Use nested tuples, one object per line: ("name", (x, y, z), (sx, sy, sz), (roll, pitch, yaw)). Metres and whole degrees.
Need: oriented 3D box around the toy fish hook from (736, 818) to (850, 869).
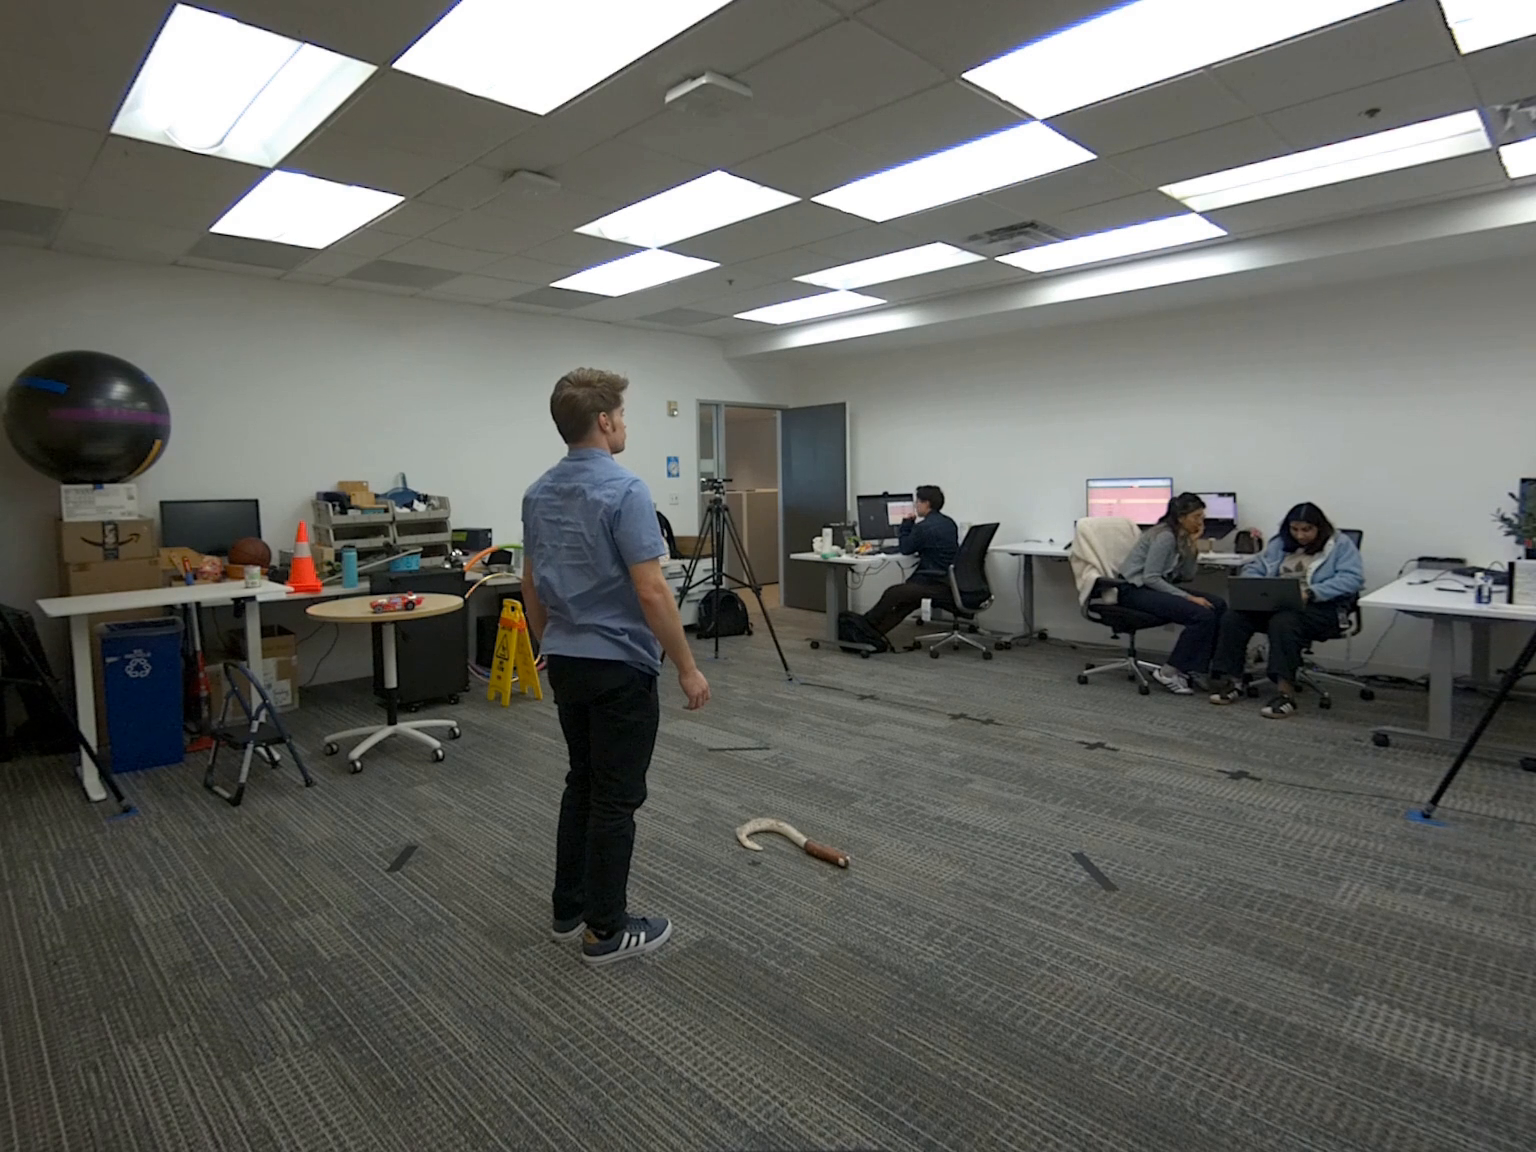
("toy fish hook", (0.081, 1.016, 3.208), (0.220, 0.048, 0.522), (-16, 14, -39))
